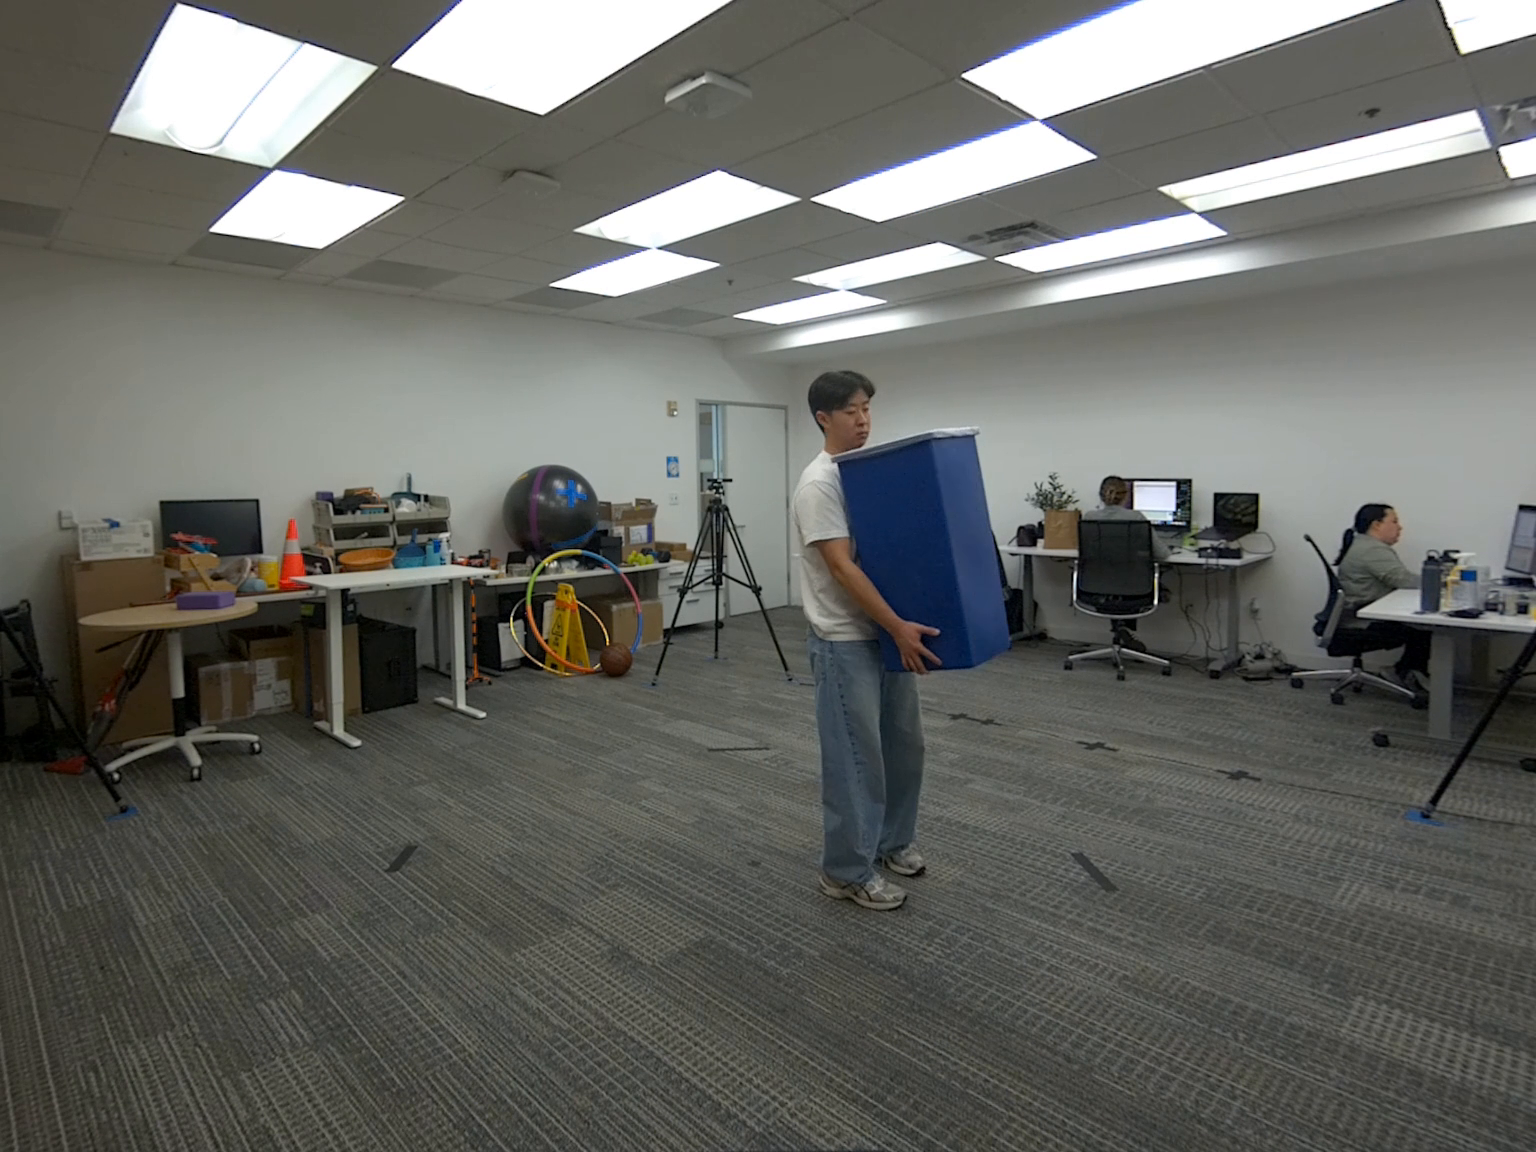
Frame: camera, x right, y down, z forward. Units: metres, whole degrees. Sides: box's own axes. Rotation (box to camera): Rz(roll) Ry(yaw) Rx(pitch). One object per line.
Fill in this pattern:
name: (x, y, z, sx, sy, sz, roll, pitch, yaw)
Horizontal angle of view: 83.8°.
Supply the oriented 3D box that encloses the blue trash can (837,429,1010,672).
blue trash can: (0.517, -0.084, 2.712, 0.386, 0.715, 0.365, -12, -1, 39)
